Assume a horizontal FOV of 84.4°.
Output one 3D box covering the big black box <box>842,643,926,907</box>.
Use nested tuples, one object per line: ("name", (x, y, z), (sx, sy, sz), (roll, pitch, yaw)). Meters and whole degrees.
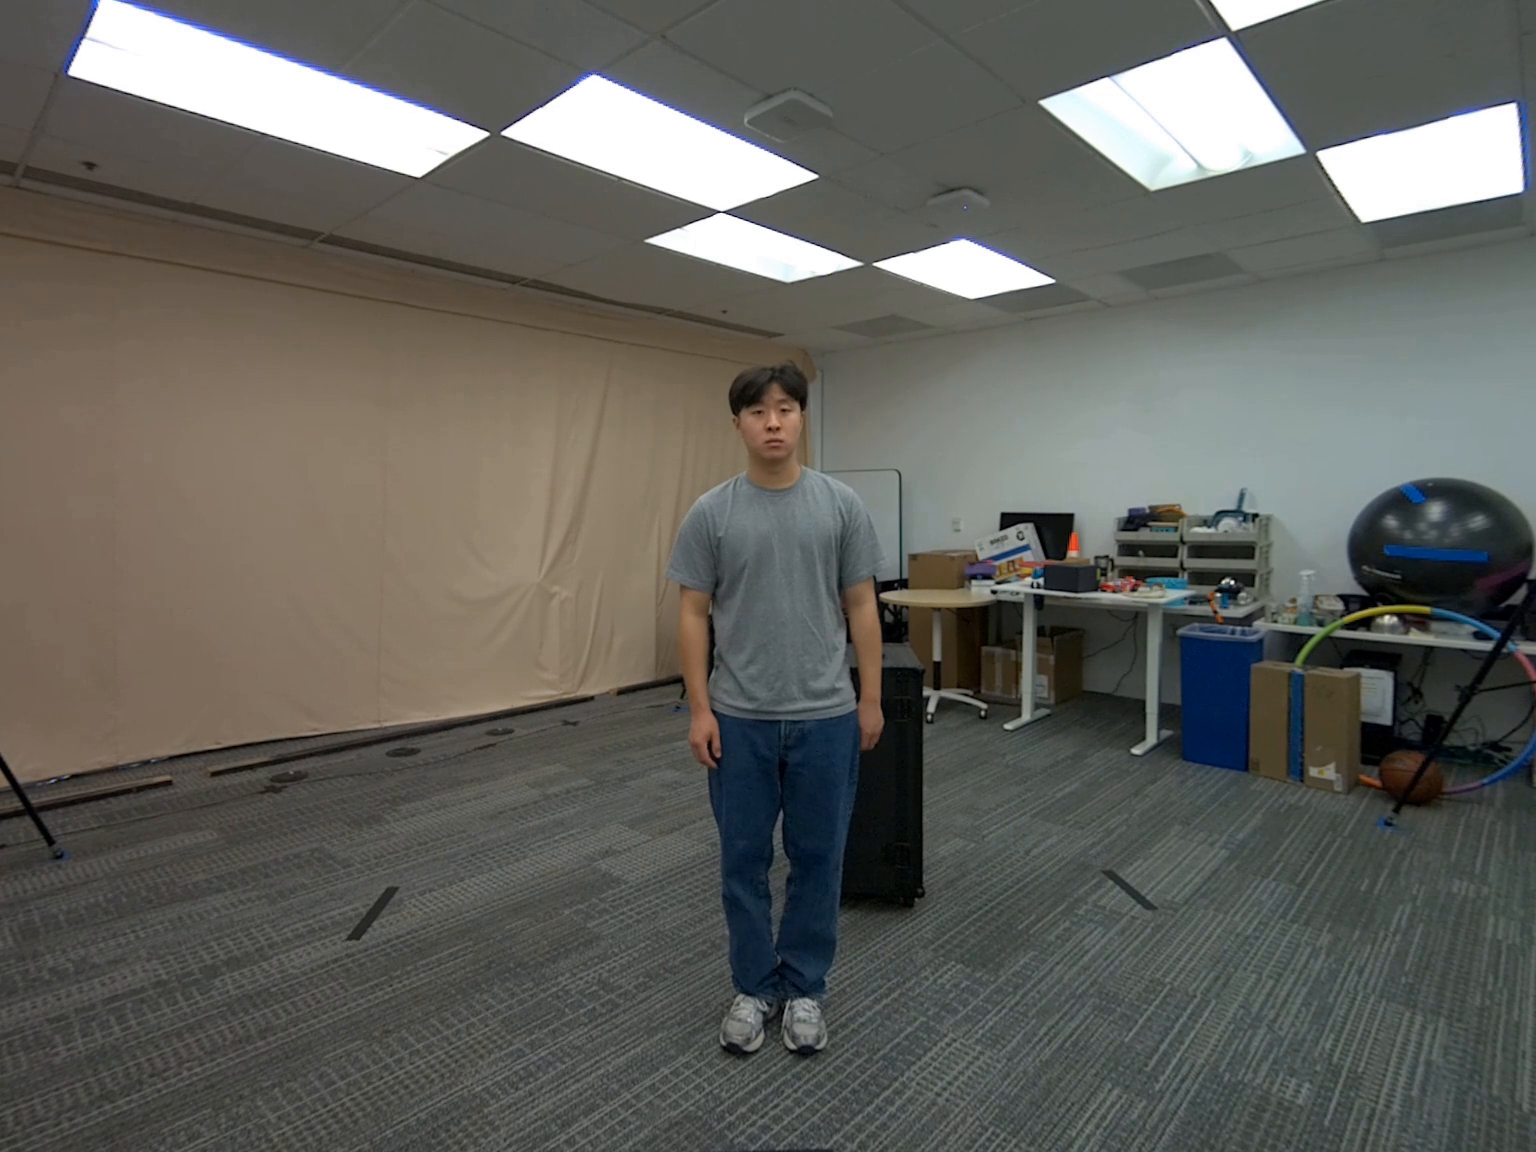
("big black box", (0.366, 0.712, 3.070), (0.400, 0.860, 0.518), (0, 3, 7))
